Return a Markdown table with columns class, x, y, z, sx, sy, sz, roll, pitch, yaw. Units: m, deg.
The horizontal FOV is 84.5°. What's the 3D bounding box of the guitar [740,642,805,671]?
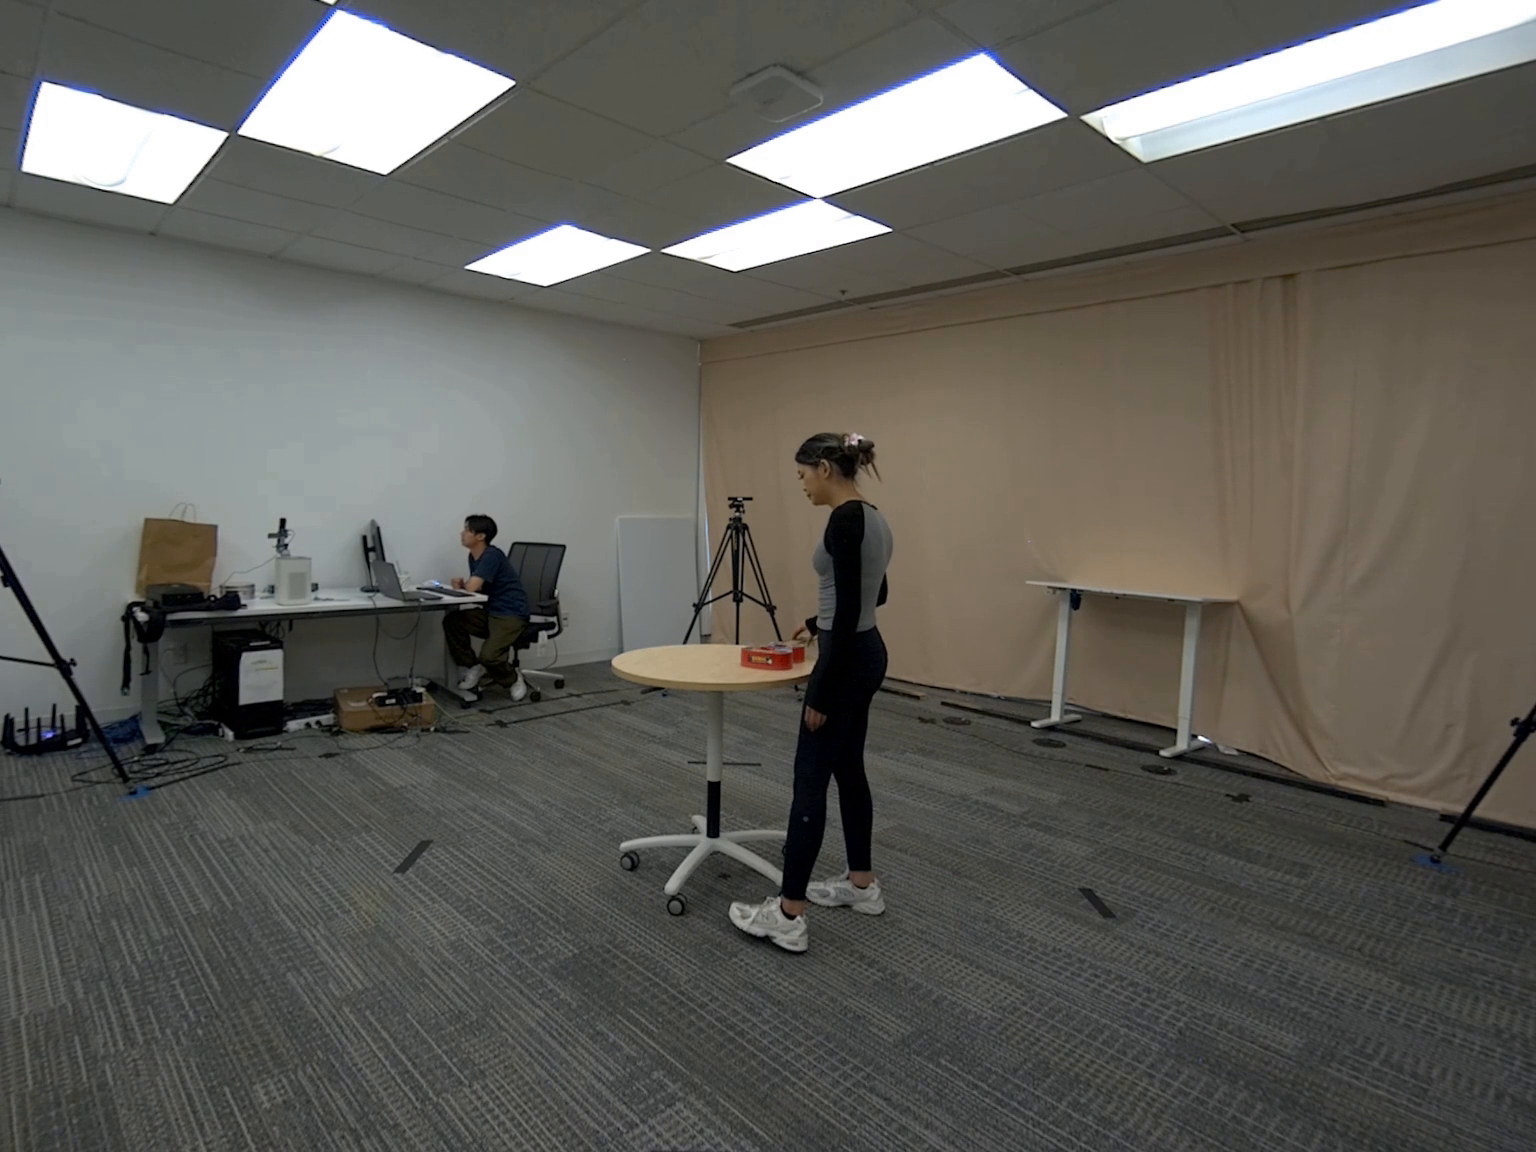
| class | x | y | z | sx | sy | sz | roll | pitch | yaw |
| --- | --- | --- | --- | --- | --- | --- | --- | --- | --- |
| guitar | 0.096 | 0.280 | 3.160 | 0.198 | 0.070 | 0.487 | 6 | 6 | 35 |
